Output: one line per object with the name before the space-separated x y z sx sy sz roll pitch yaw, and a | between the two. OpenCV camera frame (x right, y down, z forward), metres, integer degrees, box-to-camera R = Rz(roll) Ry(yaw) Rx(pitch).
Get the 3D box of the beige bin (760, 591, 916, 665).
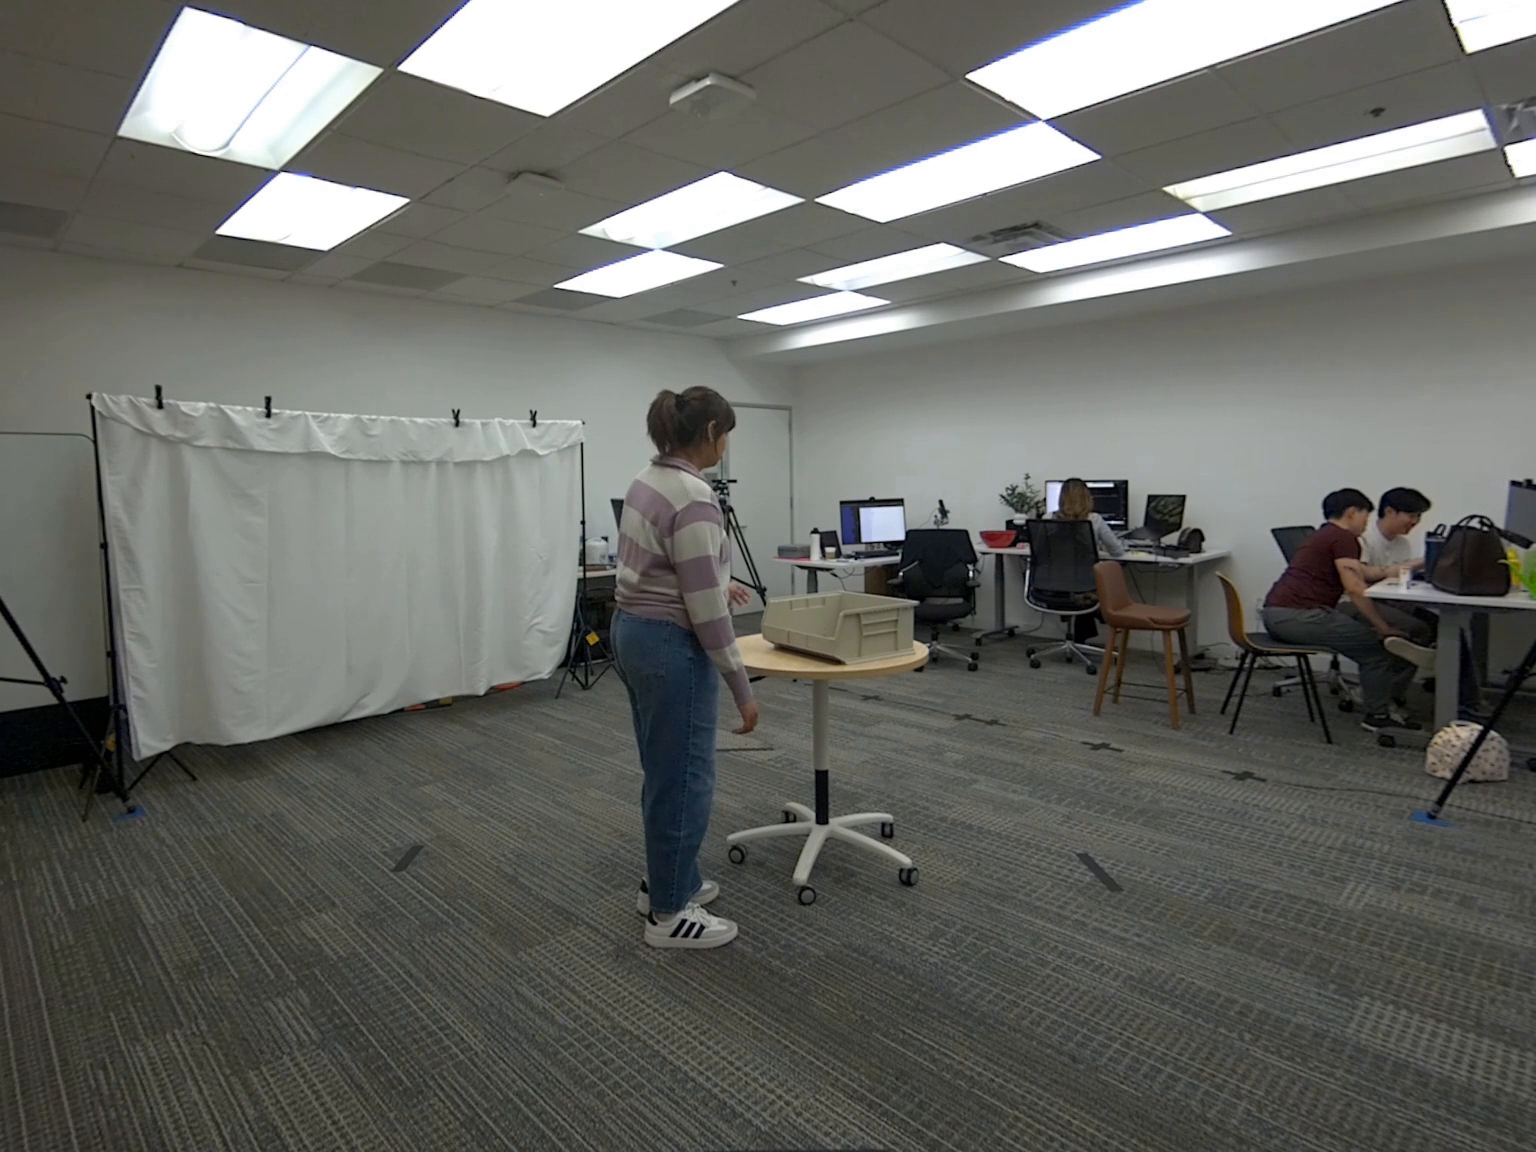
beige bin | 0.252 0.178 3.023 0.368 0.188 0.434 -4 6 -33
